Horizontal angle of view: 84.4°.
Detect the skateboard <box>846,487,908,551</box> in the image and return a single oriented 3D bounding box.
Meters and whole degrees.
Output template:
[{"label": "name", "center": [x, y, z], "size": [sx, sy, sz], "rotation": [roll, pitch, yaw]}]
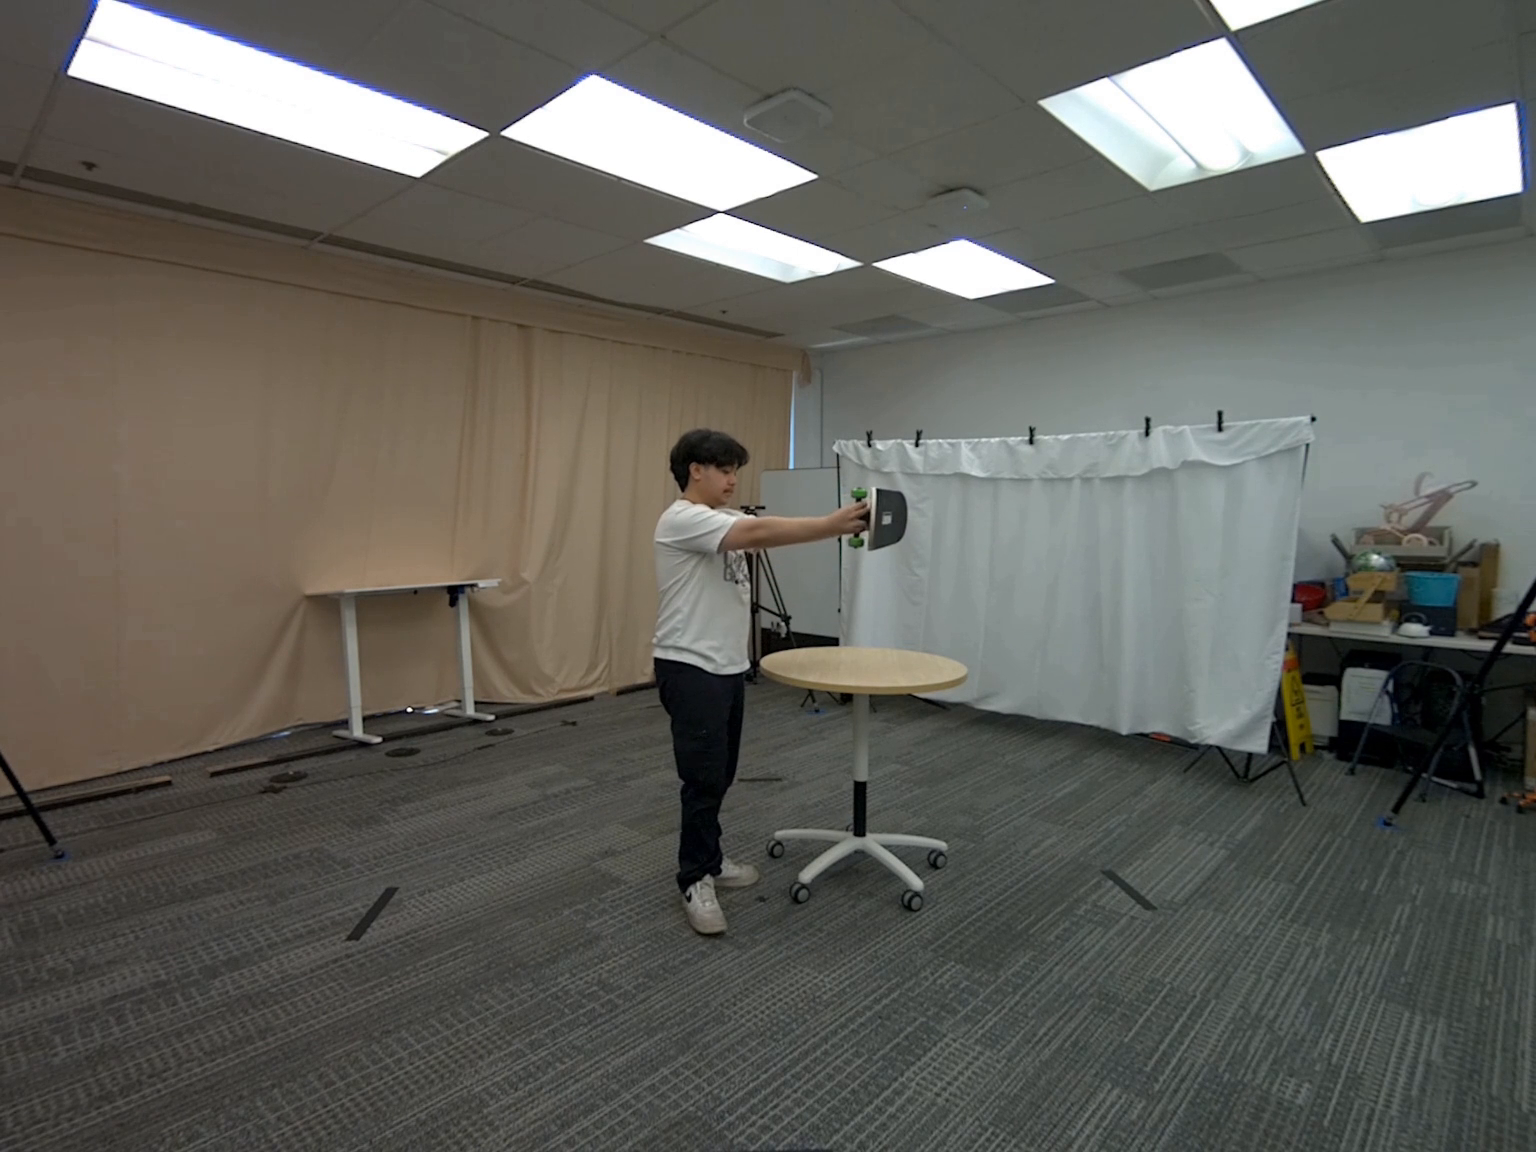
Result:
[{"label": "skateboard", "center": [0.370, -0.192, 2.806], "size": [0.112, 0.193, 0.771], "rotation": [5, 5, 17]}]
